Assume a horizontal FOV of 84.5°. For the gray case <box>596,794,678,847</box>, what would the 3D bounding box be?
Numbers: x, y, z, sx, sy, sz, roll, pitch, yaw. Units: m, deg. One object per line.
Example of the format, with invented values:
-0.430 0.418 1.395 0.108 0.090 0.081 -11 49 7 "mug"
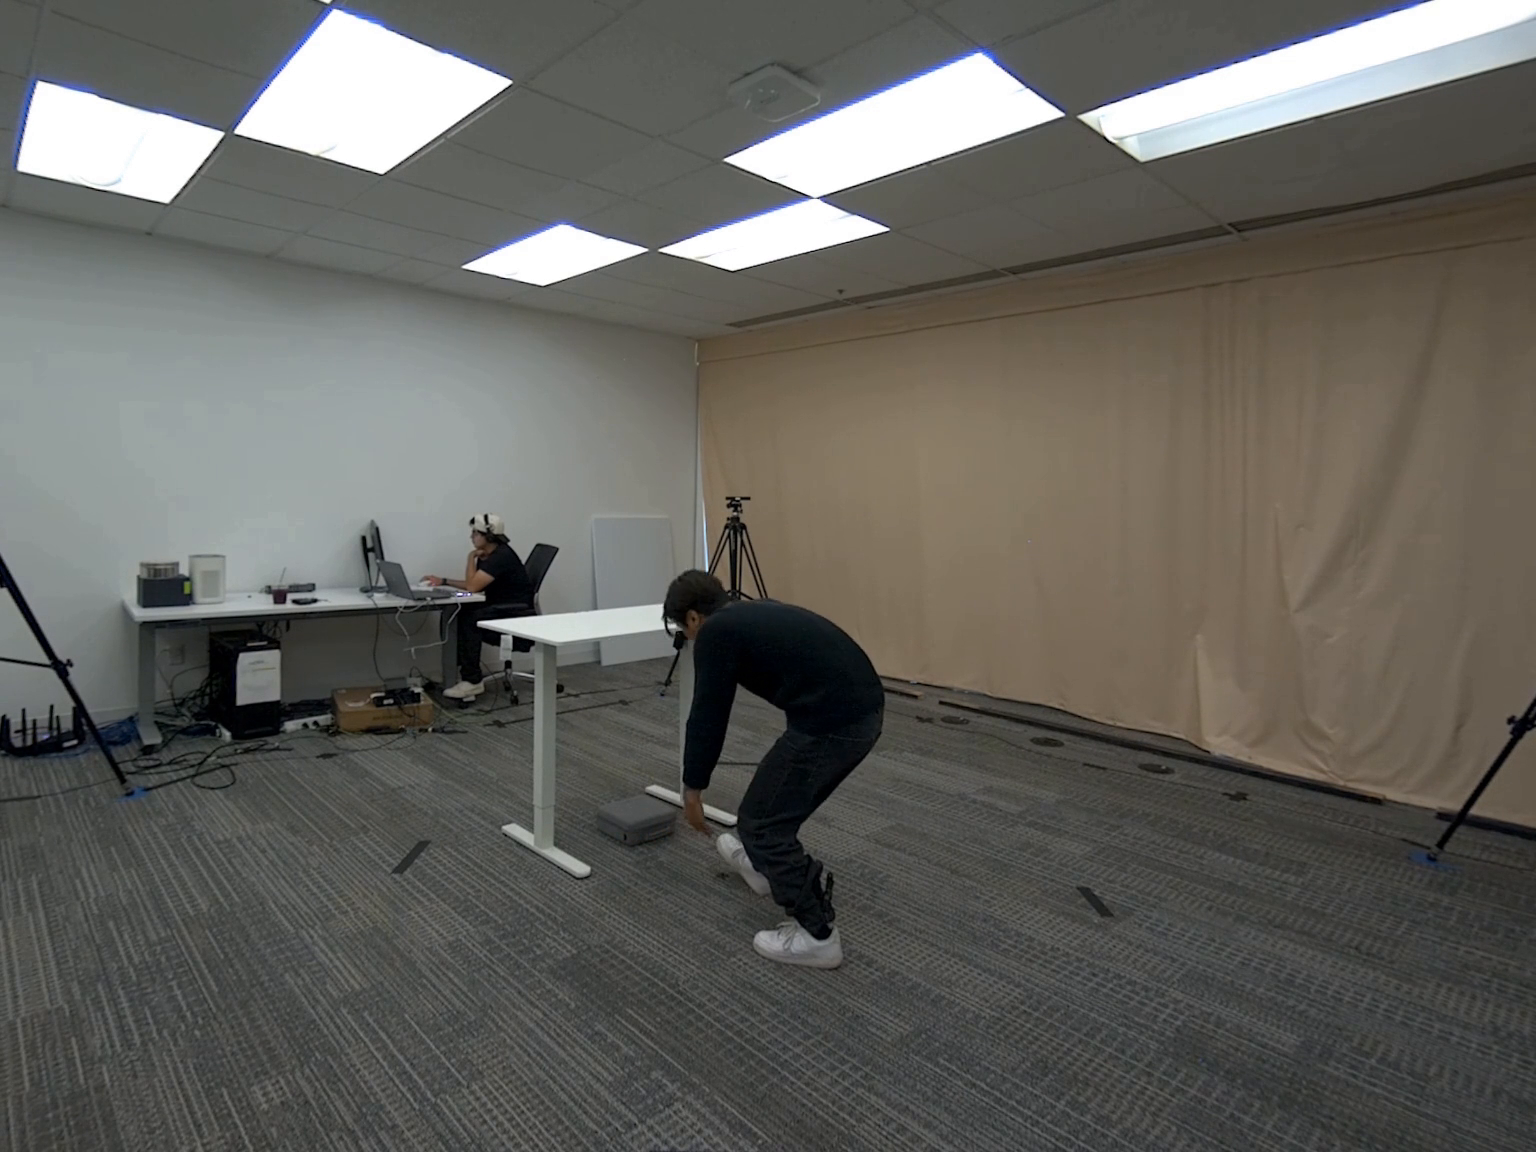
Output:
-0.551 1.002 3.497 0.263 0.104 0.255 6 7 45 "gray case"
